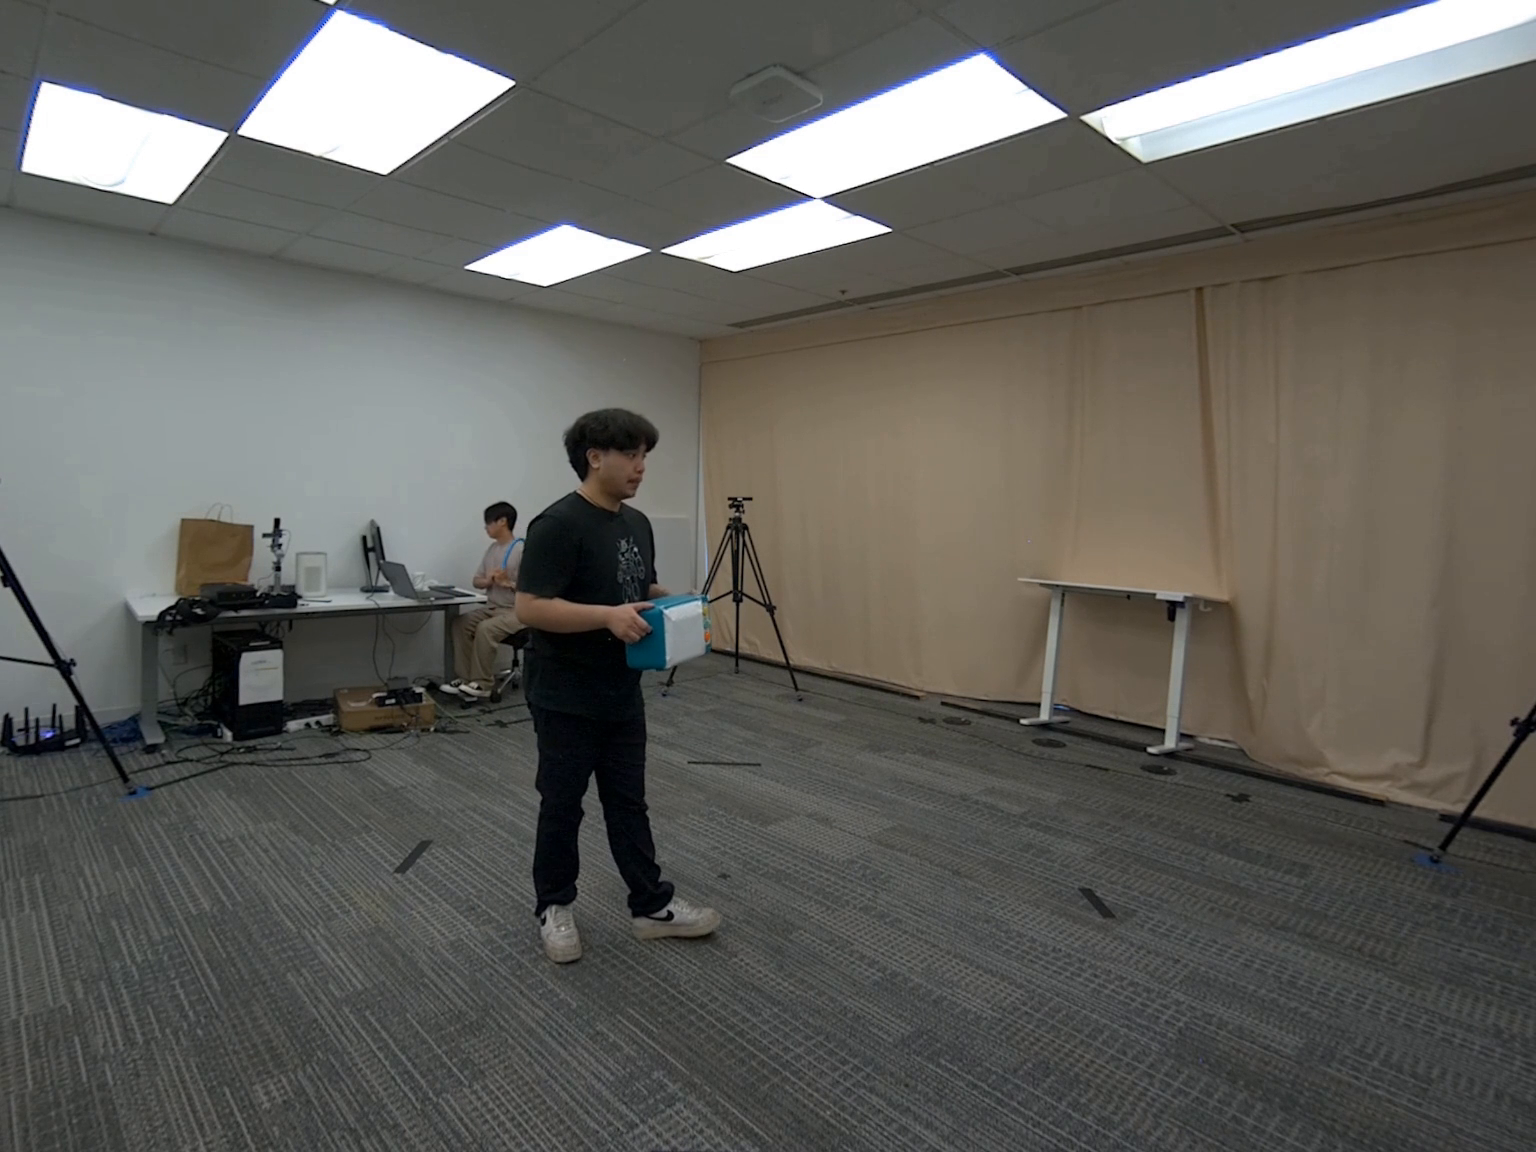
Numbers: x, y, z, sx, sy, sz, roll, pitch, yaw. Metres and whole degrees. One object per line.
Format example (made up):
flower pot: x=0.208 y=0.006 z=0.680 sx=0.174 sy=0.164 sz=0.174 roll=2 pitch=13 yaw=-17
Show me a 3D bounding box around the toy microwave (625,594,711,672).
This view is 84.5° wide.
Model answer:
toy microwave: x=-0.291 y=0.160 z=2.424 sx=0.155 sy=0.183 sz=0.281 roll=-1 pitch=5 yaw=28
